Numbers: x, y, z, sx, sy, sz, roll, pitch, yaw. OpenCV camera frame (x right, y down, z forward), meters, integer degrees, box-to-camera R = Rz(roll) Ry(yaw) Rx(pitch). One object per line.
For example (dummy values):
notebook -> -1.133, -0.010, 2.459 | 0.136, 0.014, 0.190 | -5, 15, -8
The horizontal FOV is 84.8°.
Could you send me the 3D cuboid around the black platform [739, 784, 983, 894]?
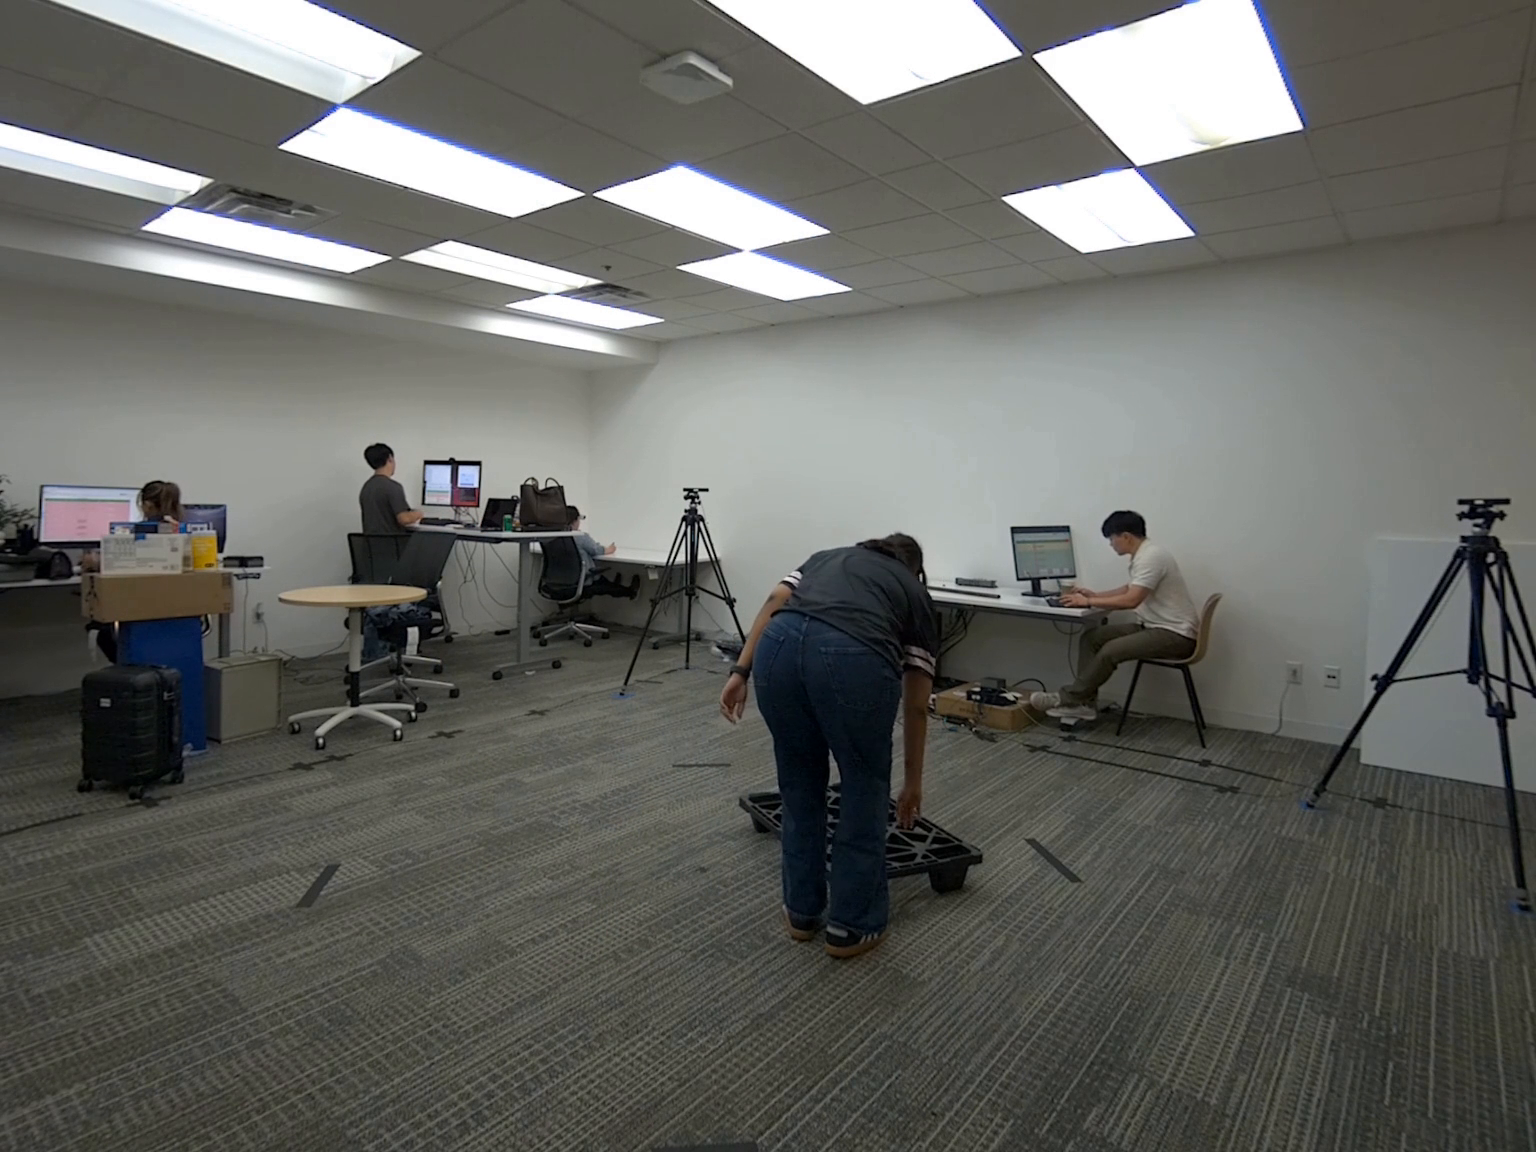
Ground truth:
black platform -> 0.312, 0.995, 3.248 | 0.591, 0.143, 0.828 | 0, 6, -25
